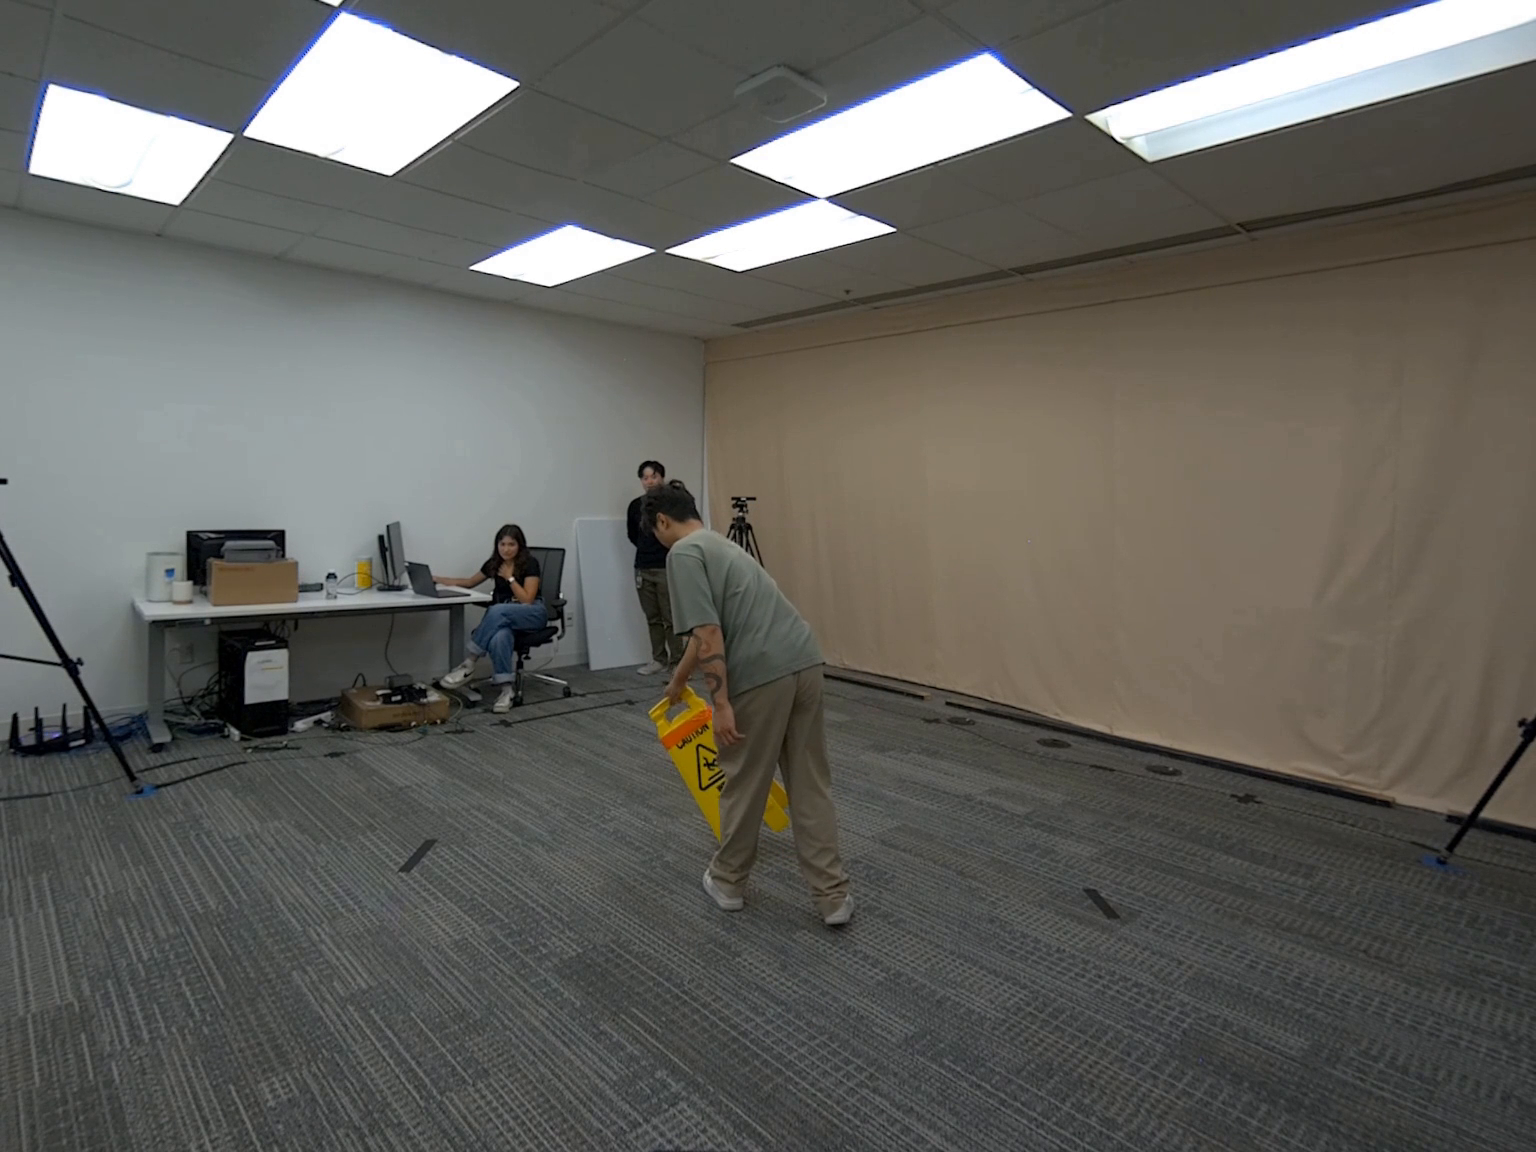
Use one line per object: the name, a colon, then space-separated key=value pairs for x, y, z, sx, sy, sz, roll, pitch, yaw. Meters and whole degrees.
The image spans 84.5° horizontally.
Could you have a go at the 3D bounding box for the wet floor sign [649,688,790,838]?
wet floor sign: x=-0.215 y=0.749 z=3.347 sx=0.283 sy=0.647 sz=0.289 roll=-34 pitch=-1 yaw=6
